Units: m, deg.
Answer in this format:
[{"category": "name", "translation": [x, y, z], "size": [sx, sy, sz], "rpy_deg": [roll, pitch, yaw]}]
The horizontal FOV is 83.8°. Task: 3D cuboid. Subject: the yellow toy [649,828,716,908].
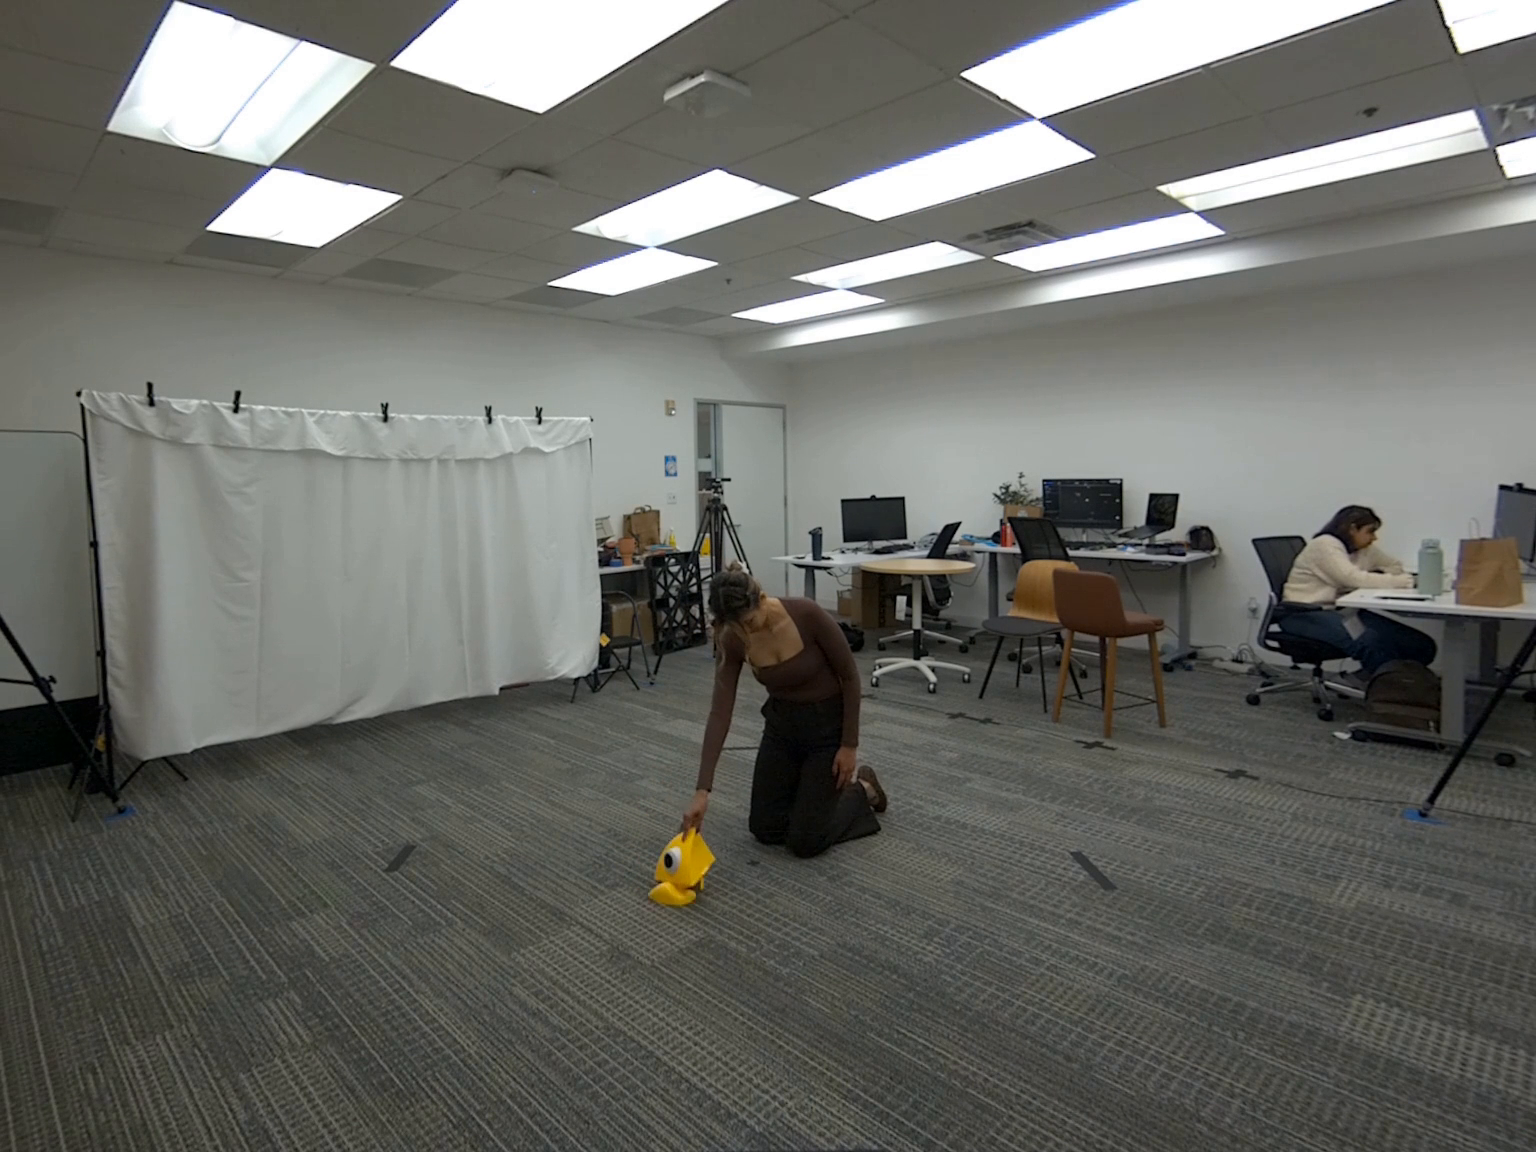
[{"category": "yellow toy", "translation": [-0.297, 0.959, 2.898], "size": [0.197, 0.229, 0.202], "rpy_deg": [2, 6, 19]}]
